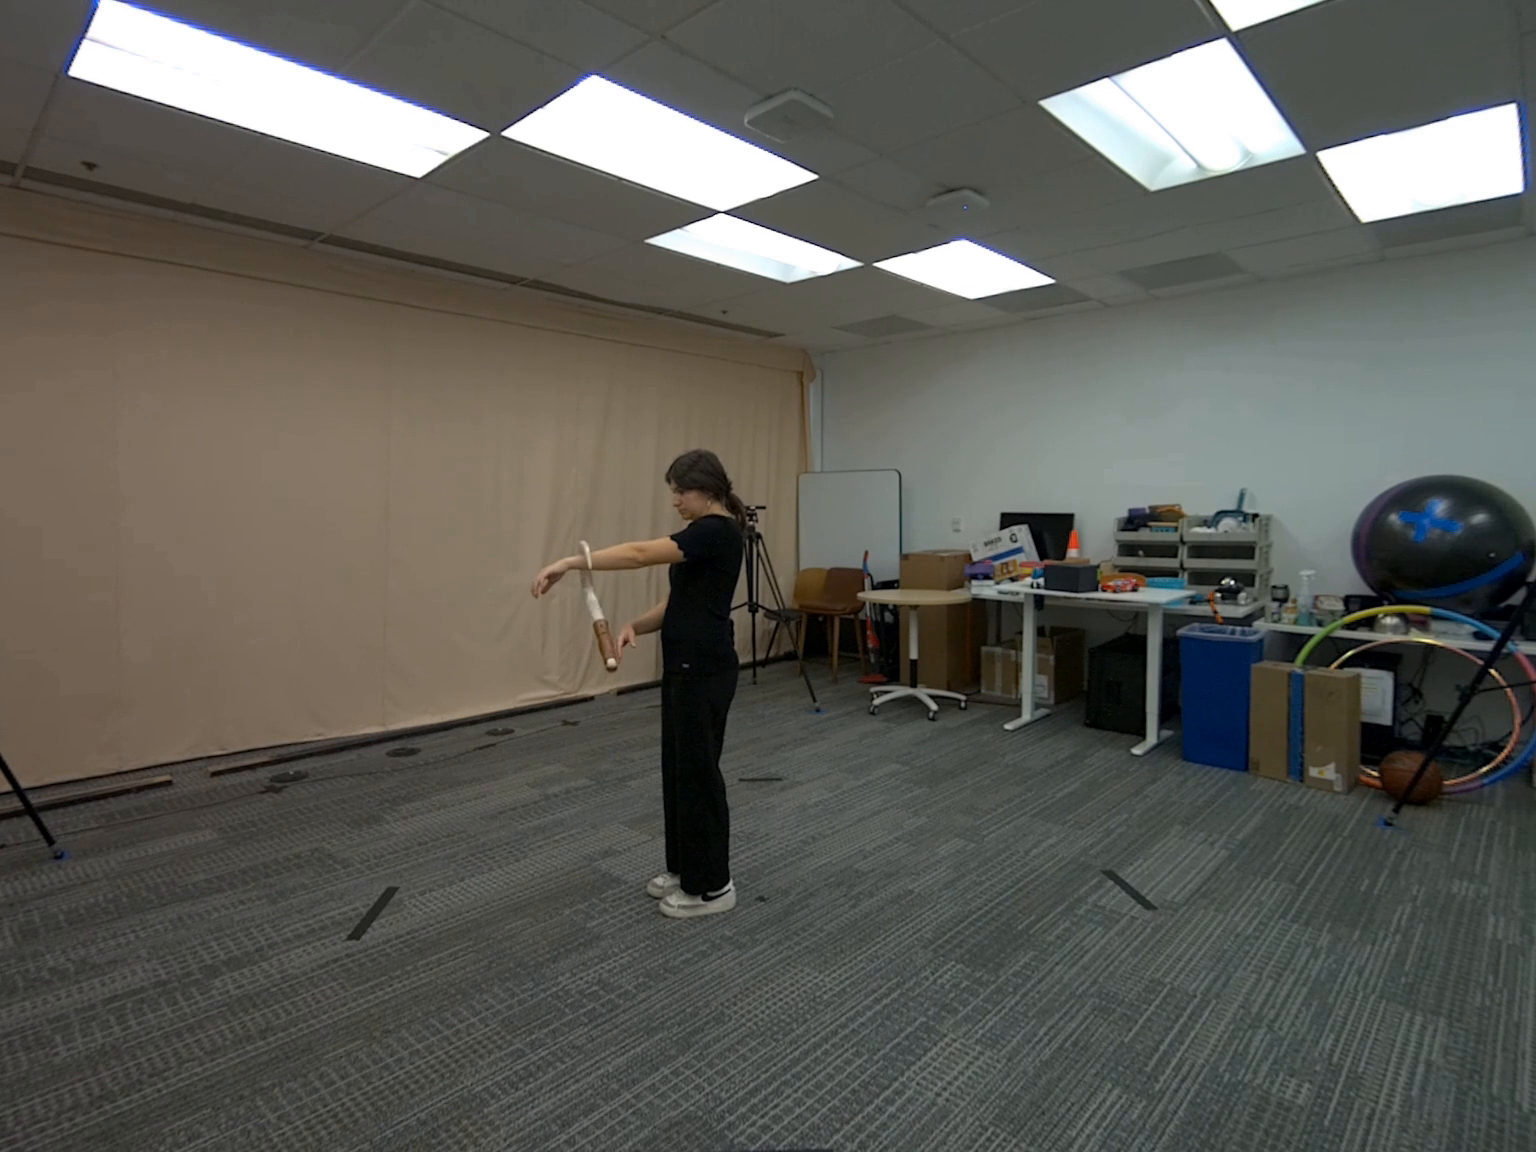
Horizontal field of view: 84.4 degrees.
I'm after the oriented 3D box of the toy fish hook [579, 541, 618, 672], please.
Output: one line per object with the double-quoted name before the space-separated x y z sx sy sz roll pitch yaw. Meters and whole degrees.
"toy fish hook" -0.537 0.080 2.577 0.048 0.220 0.523 -13 39 -14
